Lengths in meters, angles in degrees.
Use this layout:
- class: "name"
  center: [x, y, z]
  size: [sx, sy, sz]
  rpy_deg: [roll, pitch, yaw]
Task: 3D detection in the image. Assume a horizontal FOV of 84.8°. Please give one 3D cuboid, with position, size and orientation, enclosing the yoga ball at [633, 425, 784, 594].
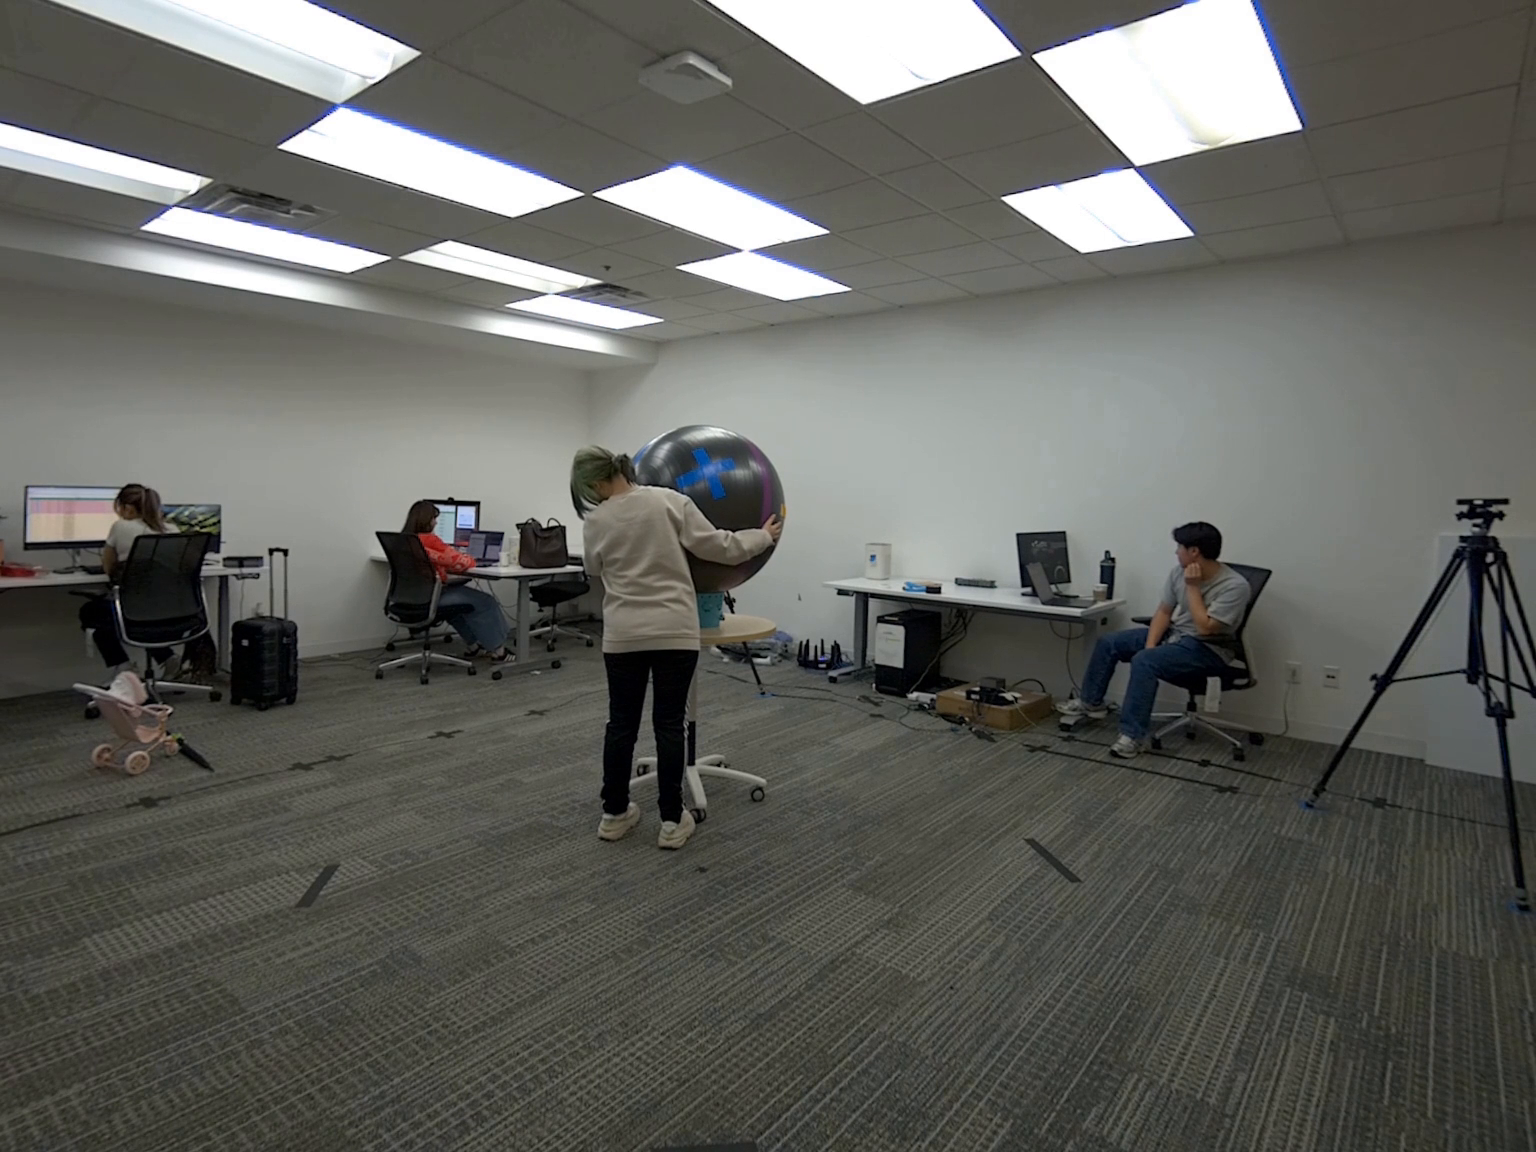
- class: "yoga ball"
  center: [-0.308, -0.295, 3.798]
  size: [0.757, 0.756, 0.762]
  rpy_deg: [1, 4, -2]
